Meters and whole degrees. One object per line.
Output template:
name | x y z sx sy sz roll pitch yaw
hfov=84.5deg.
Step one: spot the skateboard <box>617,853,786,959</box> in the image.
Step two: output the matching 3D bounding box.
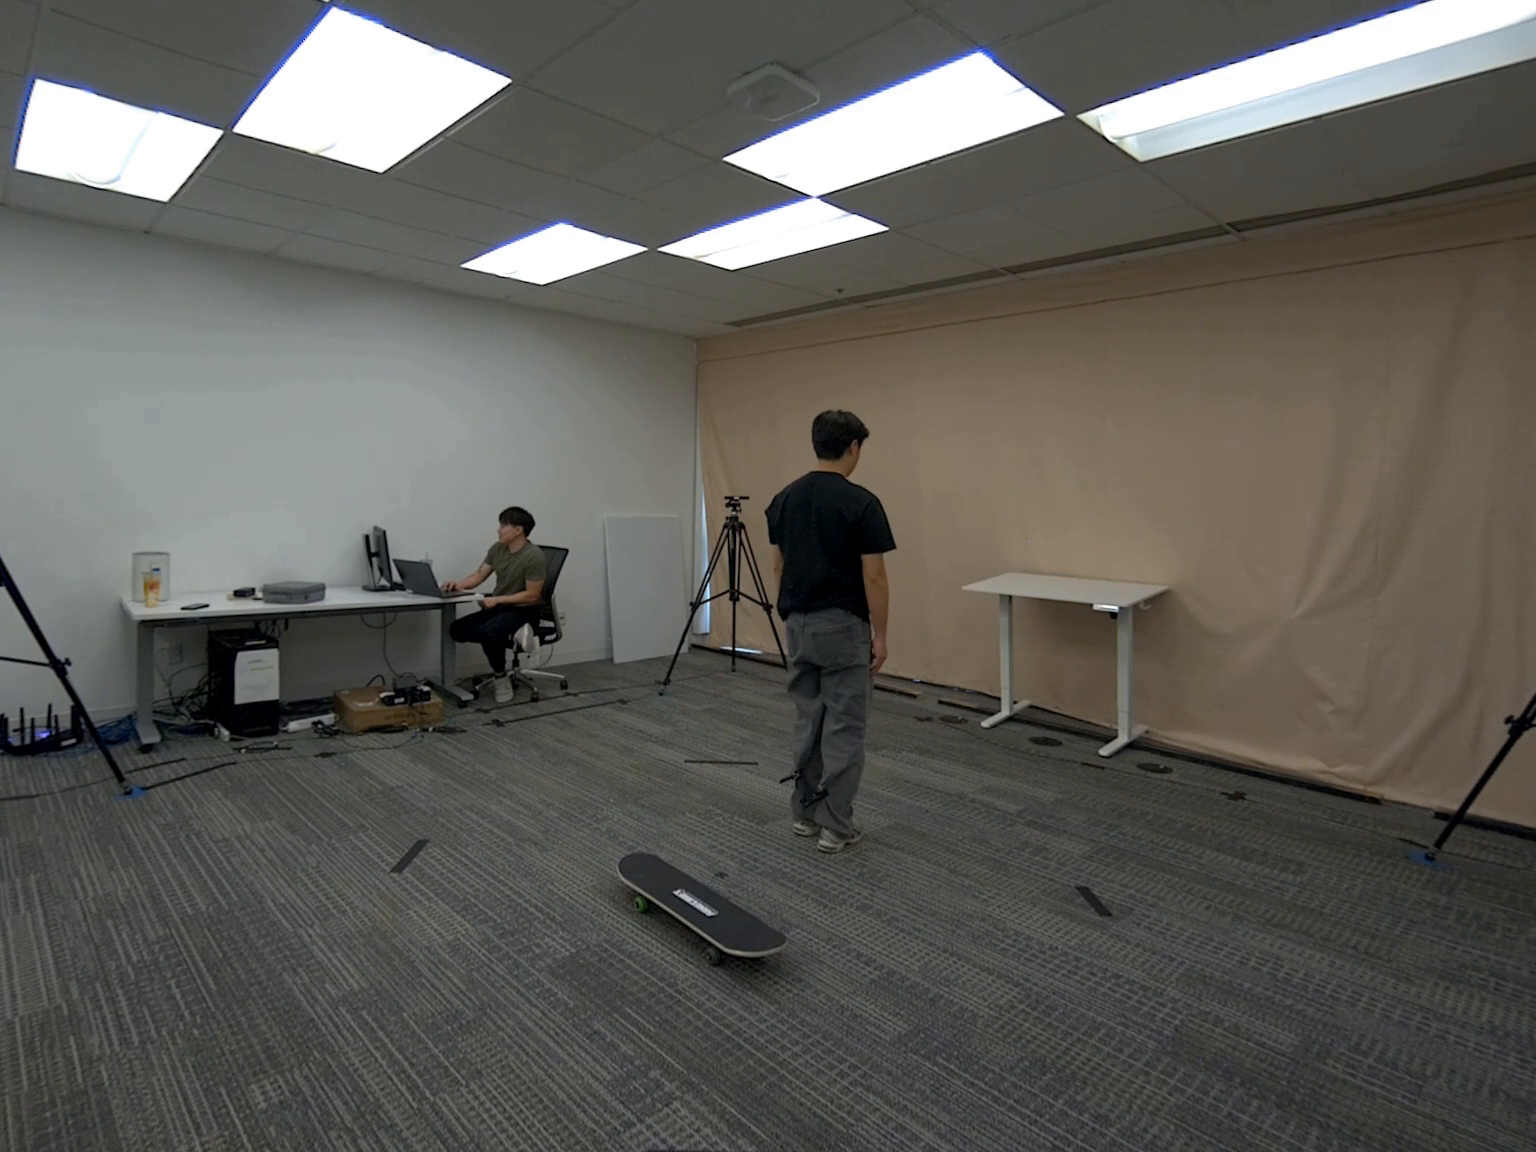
skateboard | -0.245 1.084 2.708 0.189 0.110 0.806 -2 6 -40
